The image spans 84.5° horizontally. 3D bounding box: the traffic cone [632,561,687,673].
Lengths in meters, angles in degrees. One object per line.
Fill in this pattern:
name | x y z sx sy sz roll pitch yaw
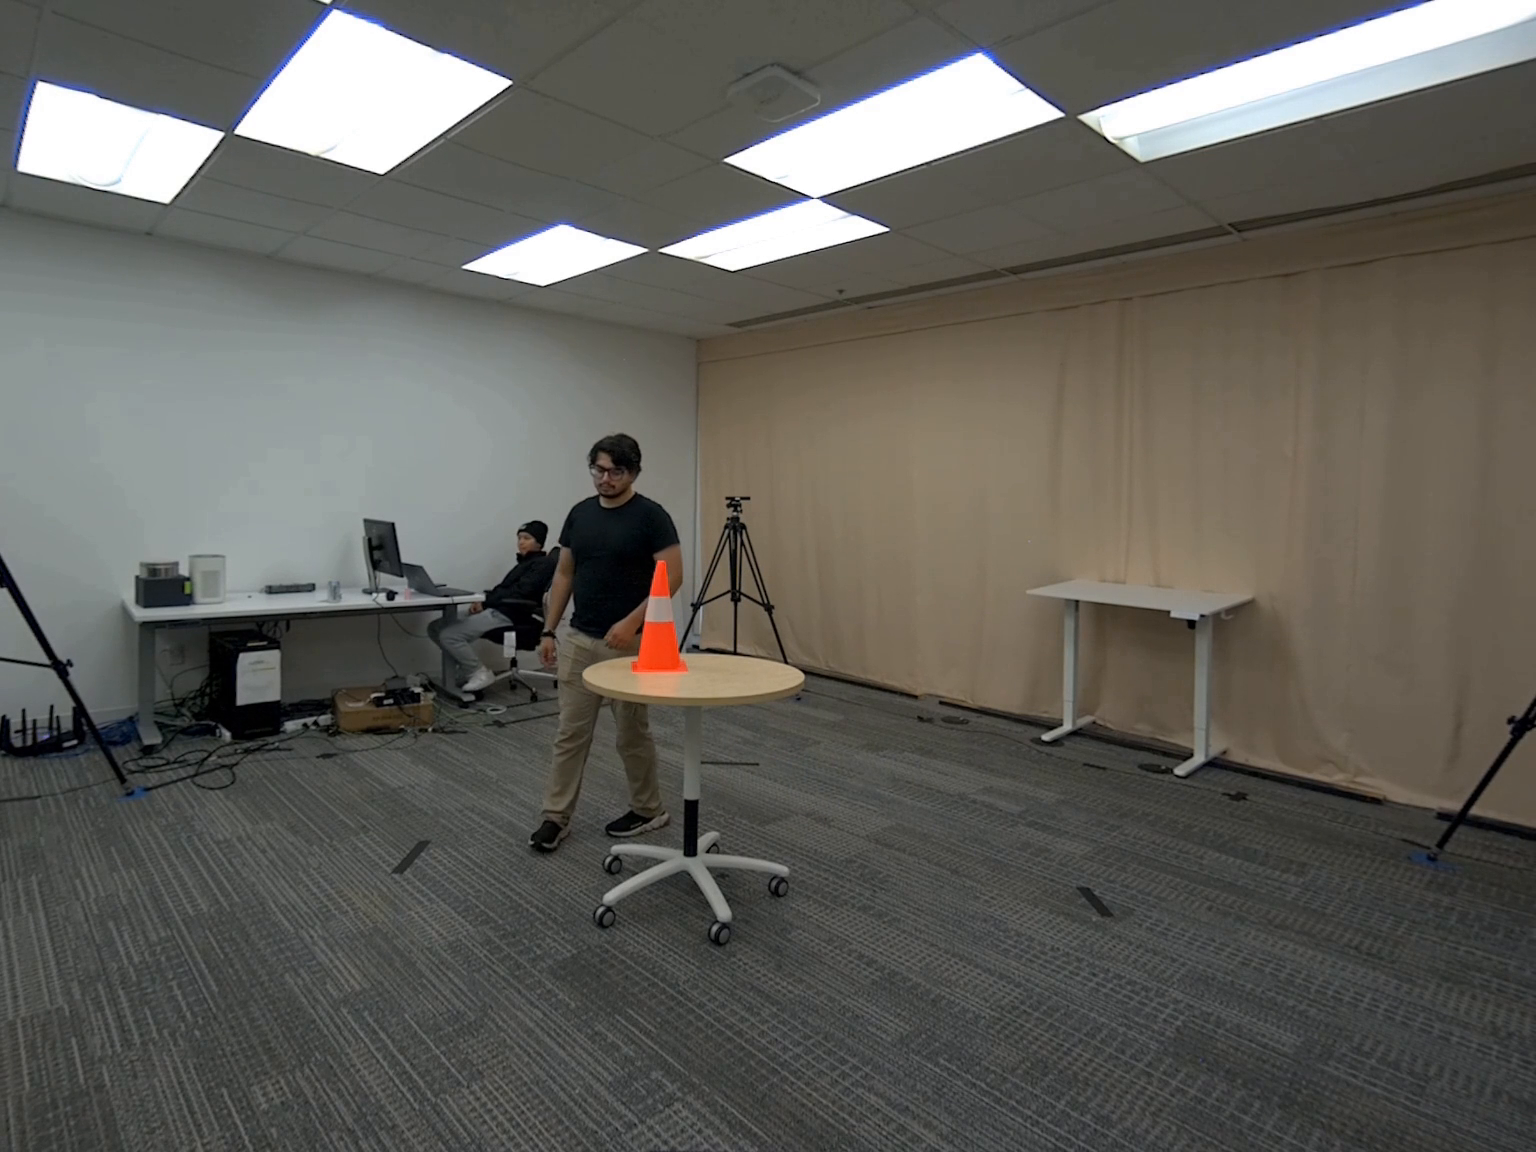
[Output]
traffic cone | -0.392 0.139 3.009 0.202 0.383 0.206 2 2 -17
